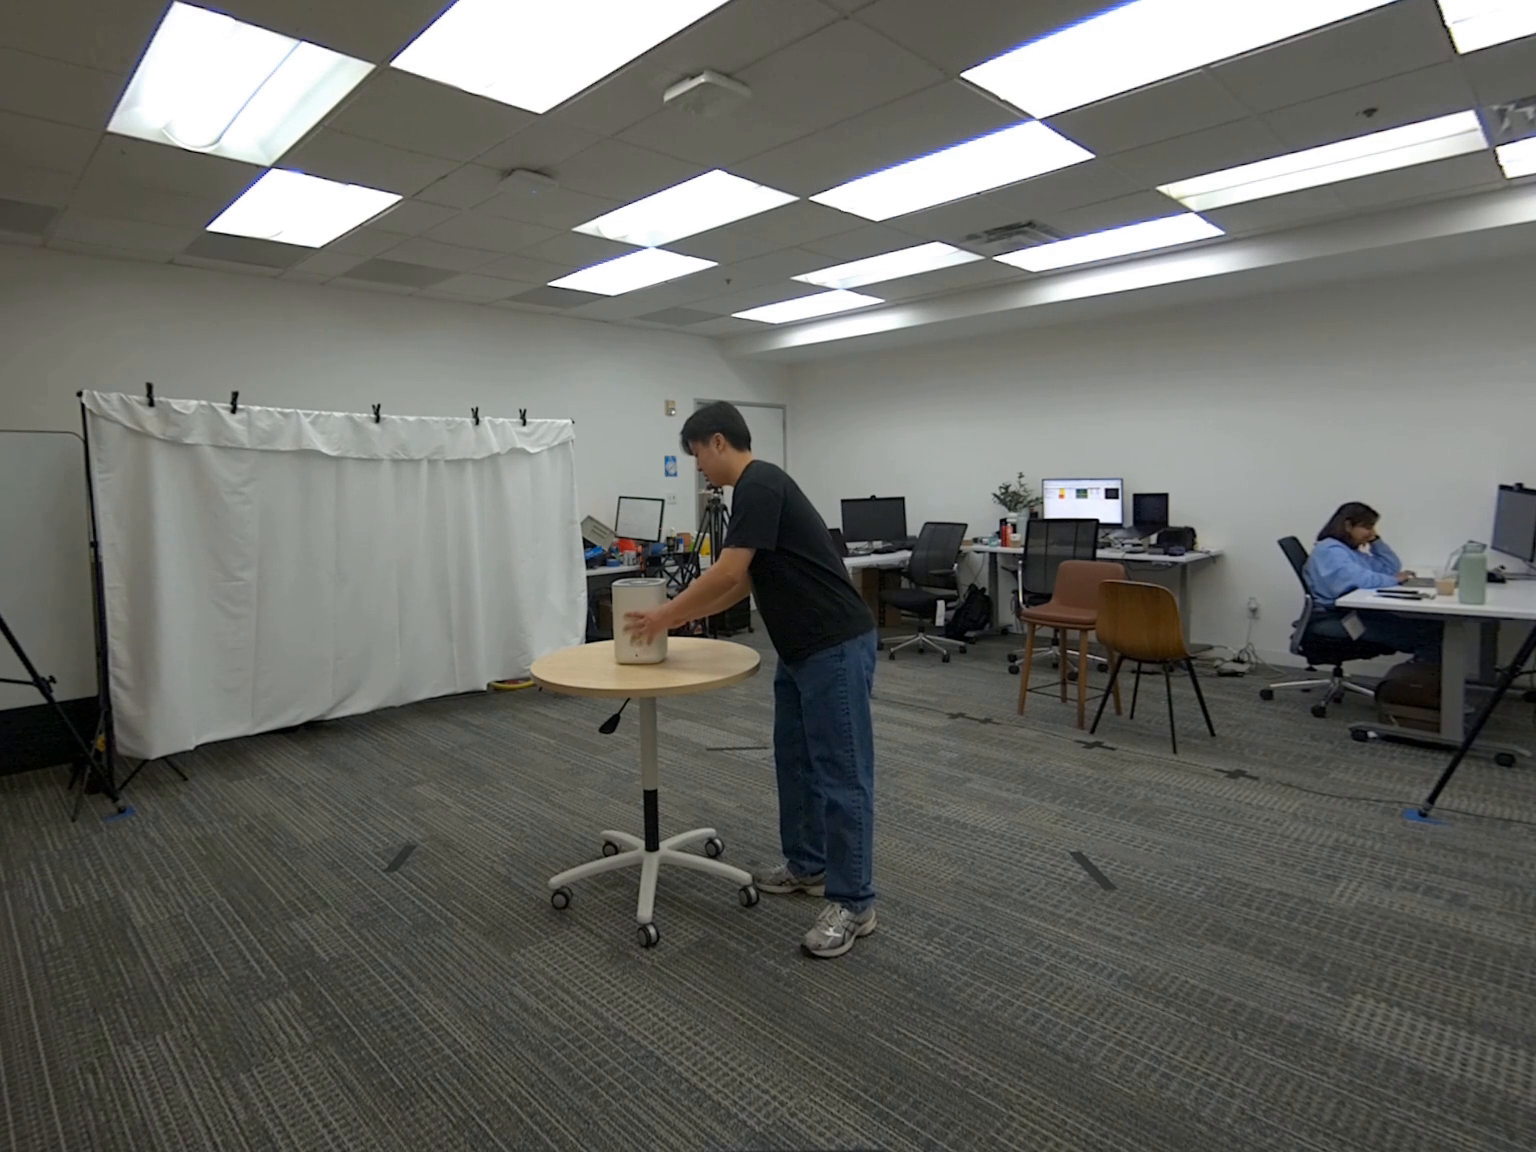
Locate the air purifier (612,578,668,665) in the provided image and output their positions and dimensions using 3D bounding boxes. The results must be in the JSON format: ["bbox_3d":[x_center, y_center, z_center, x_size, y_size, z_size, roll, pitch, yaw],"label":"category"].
[{"bbox_3d":[-0.420,0.149,2.851,0.172,0.264,0.171,-2,4,5],"label":"air purifier"}]
